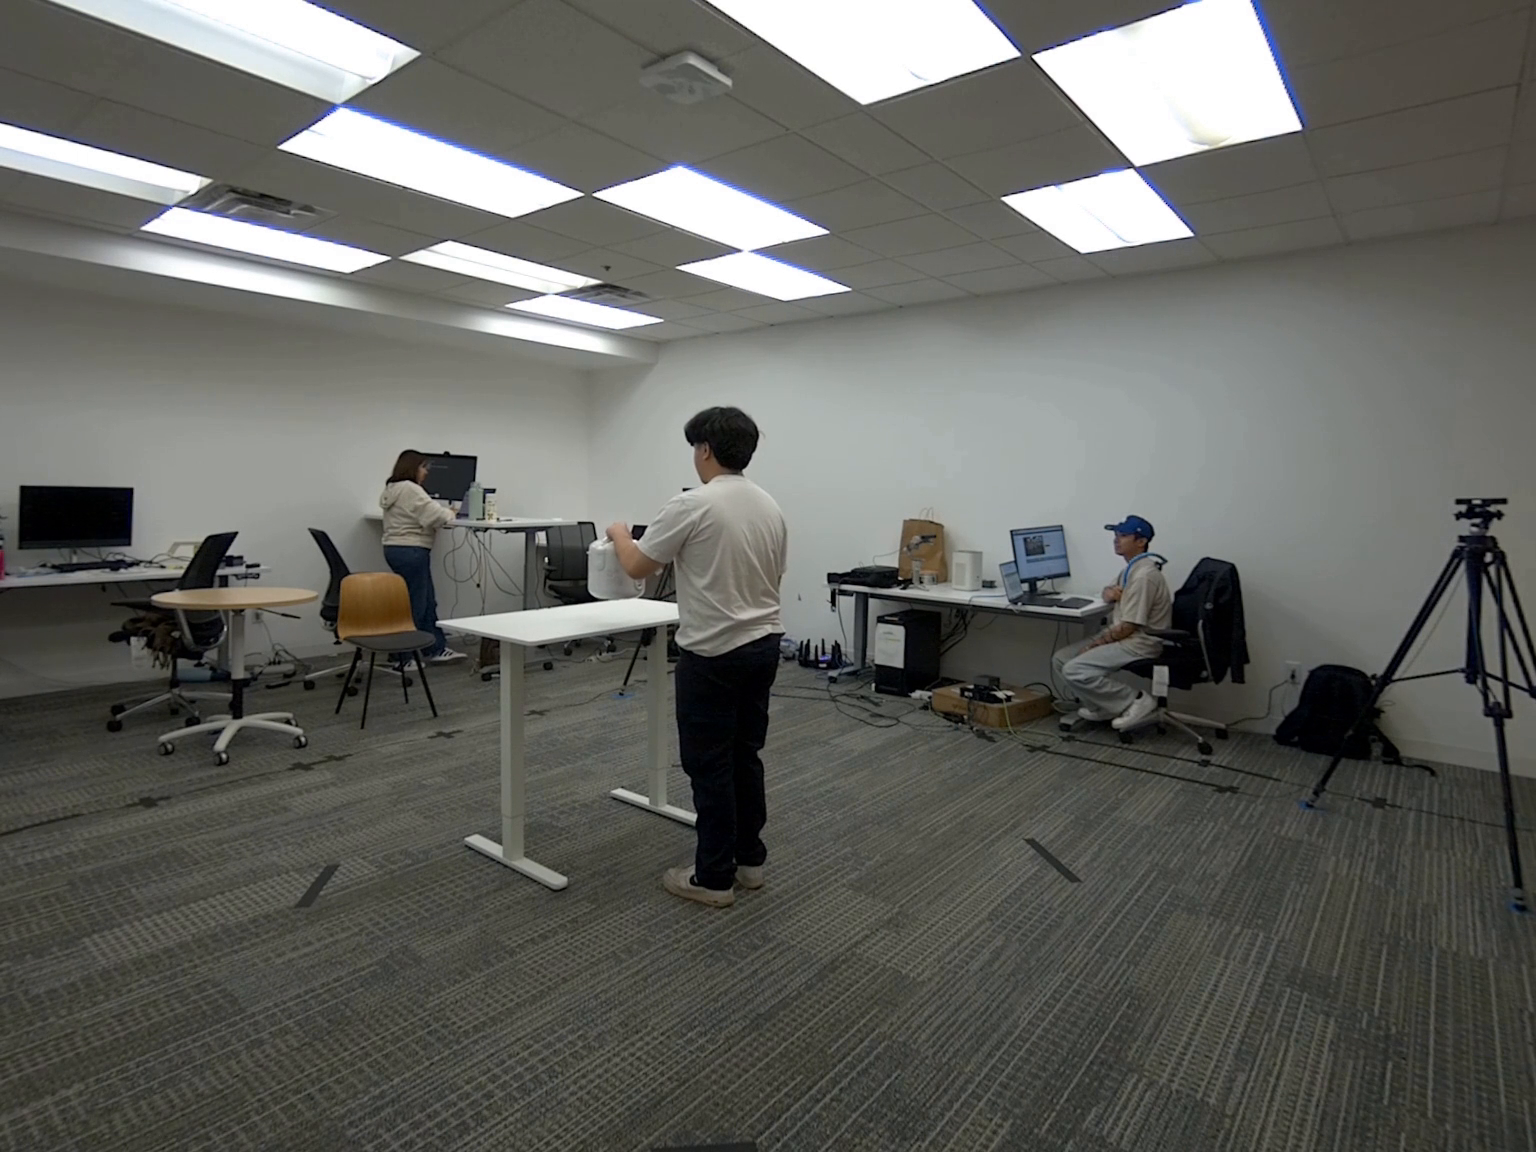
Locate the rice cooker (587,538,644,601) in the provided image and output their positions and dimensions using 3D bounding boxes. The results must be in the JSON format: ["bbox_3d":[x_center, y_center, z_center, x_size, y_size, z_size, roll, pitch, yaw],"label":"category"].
[{"bbox_3d":[-0.564,-0.038,3.143,0.224,0.232,0.215,4,6,30],"label":"rice cooker"}]
